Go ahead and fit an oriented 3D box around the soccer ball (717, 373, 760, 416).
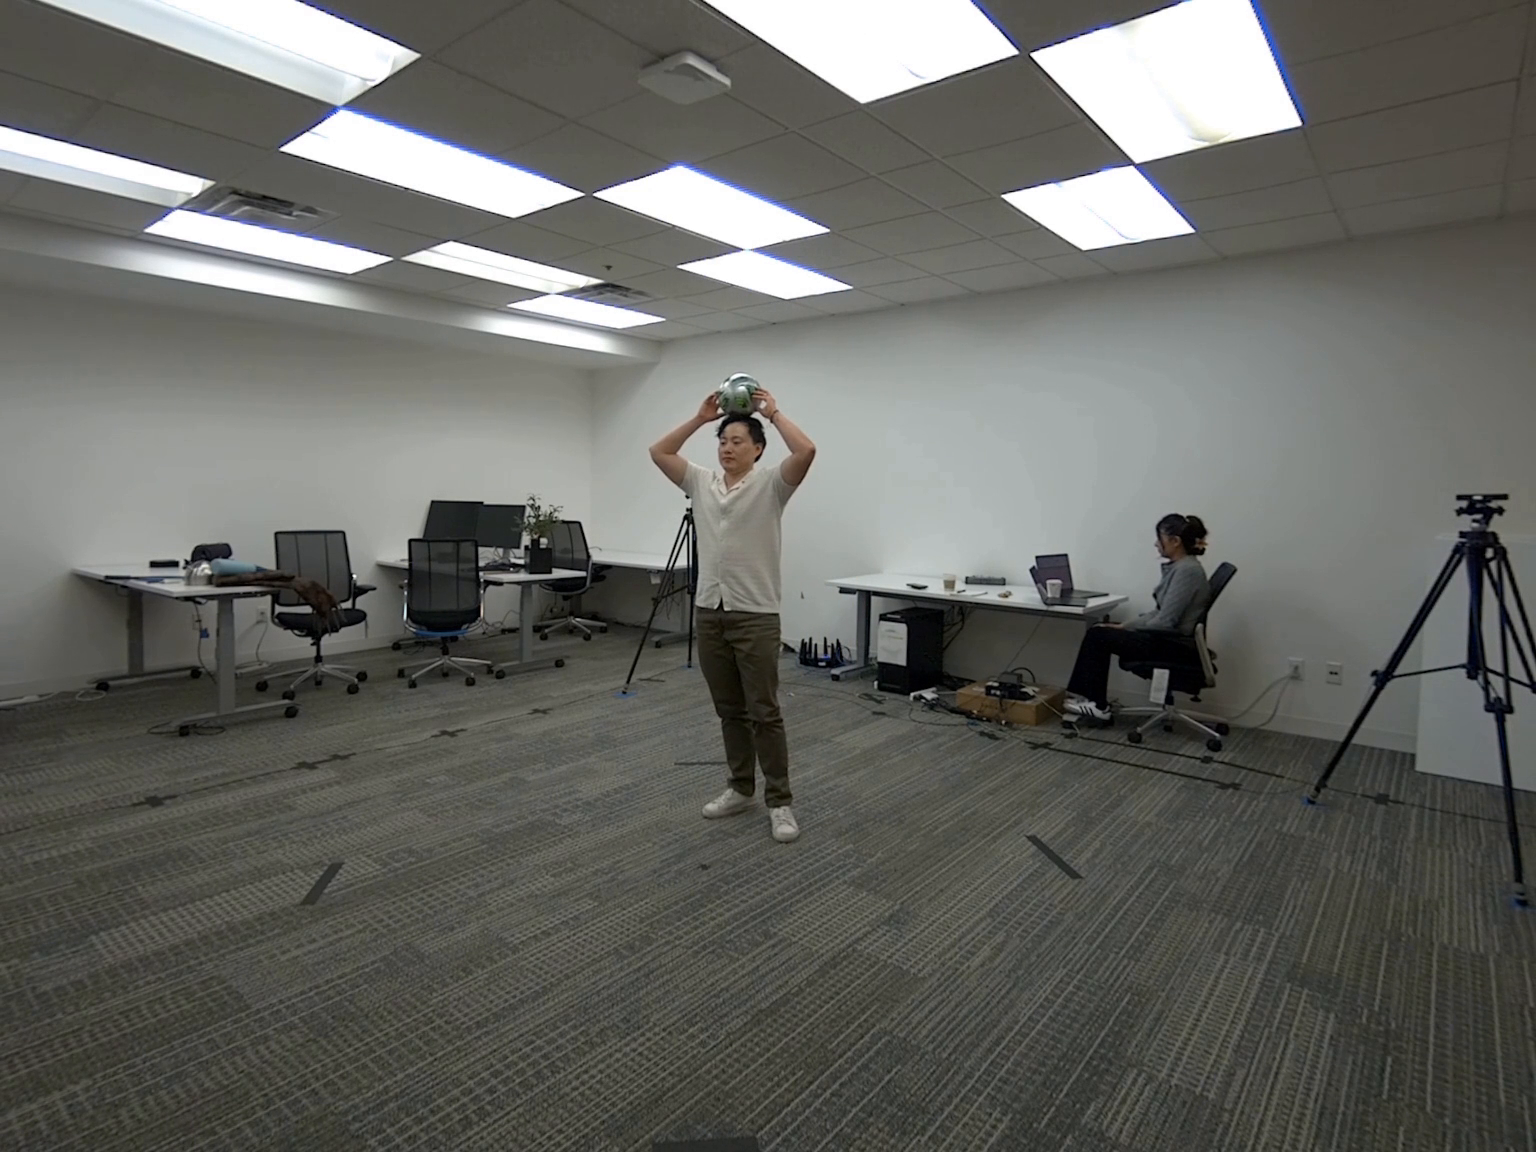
[{"bbox_3d":[-0.123,-0.762,3.597,0.187,0.187,0.188,1,4,-2],"label":"soccer ball"}]
